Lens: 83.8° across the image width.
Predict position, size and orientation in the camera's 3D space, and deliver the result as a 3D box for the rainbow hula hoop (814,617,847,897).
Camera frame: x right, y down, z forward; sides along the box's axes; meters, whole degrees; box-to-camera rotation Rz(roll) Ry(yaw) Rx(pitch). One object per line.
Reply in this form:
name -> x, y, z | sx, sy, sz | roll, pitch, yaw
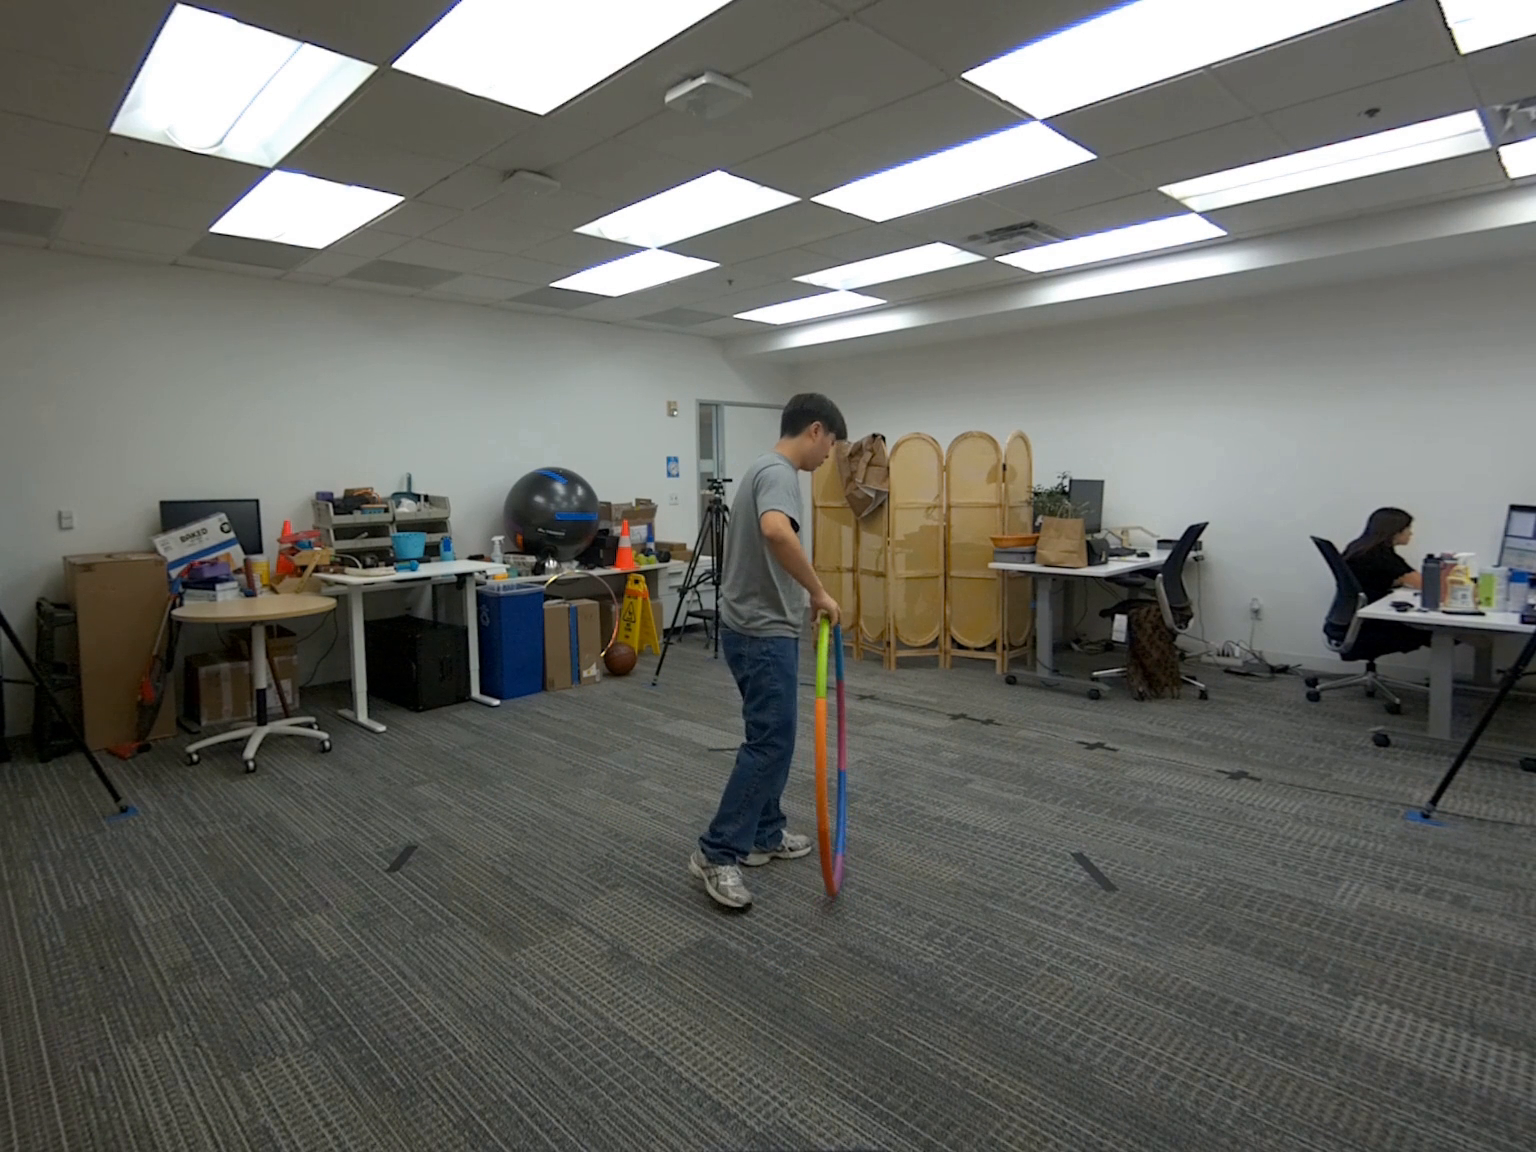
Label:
rainbow hula hoop -> 0.219, 0.571, 2.943 | 0.036, 0.975, 0.974 | -2, 5, 7
